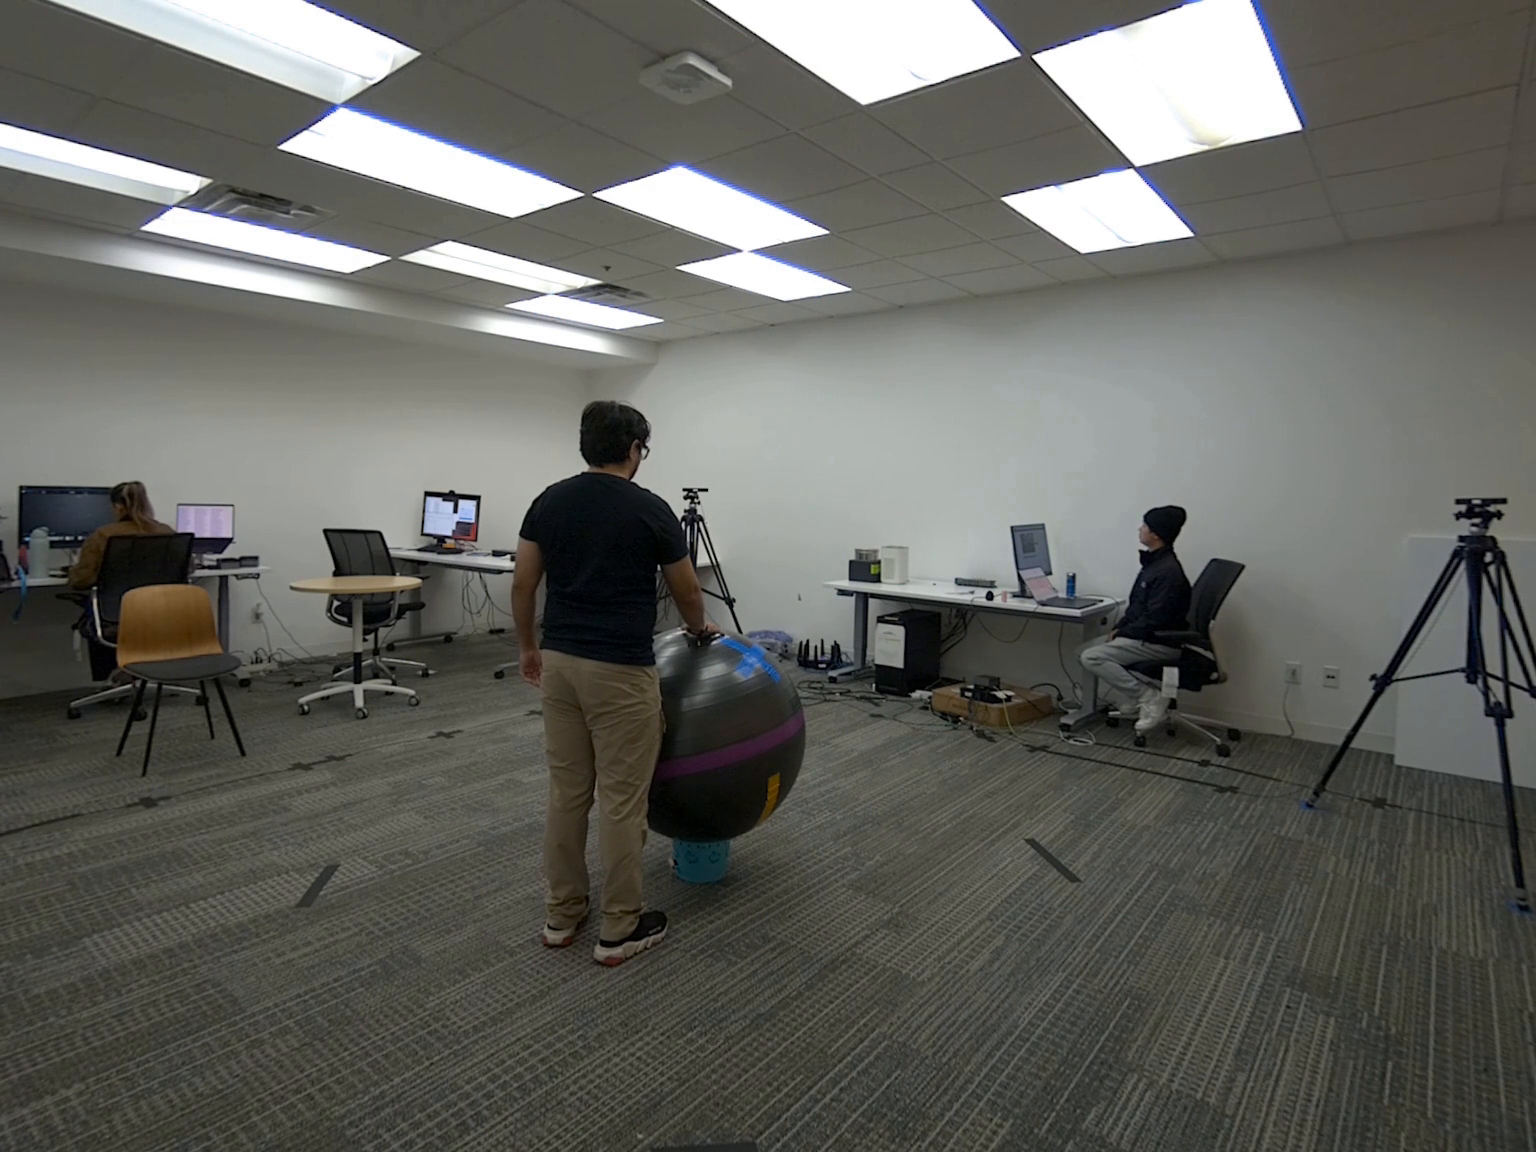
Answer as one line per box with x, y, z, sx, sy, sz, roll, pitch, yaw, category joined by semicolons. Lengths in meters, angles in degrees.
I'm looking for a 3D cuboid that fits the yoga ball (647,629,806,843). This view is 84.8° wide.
-0.262;0.562;3.070;0.757;0.756;0.762;1;4;-2;yoga ball
